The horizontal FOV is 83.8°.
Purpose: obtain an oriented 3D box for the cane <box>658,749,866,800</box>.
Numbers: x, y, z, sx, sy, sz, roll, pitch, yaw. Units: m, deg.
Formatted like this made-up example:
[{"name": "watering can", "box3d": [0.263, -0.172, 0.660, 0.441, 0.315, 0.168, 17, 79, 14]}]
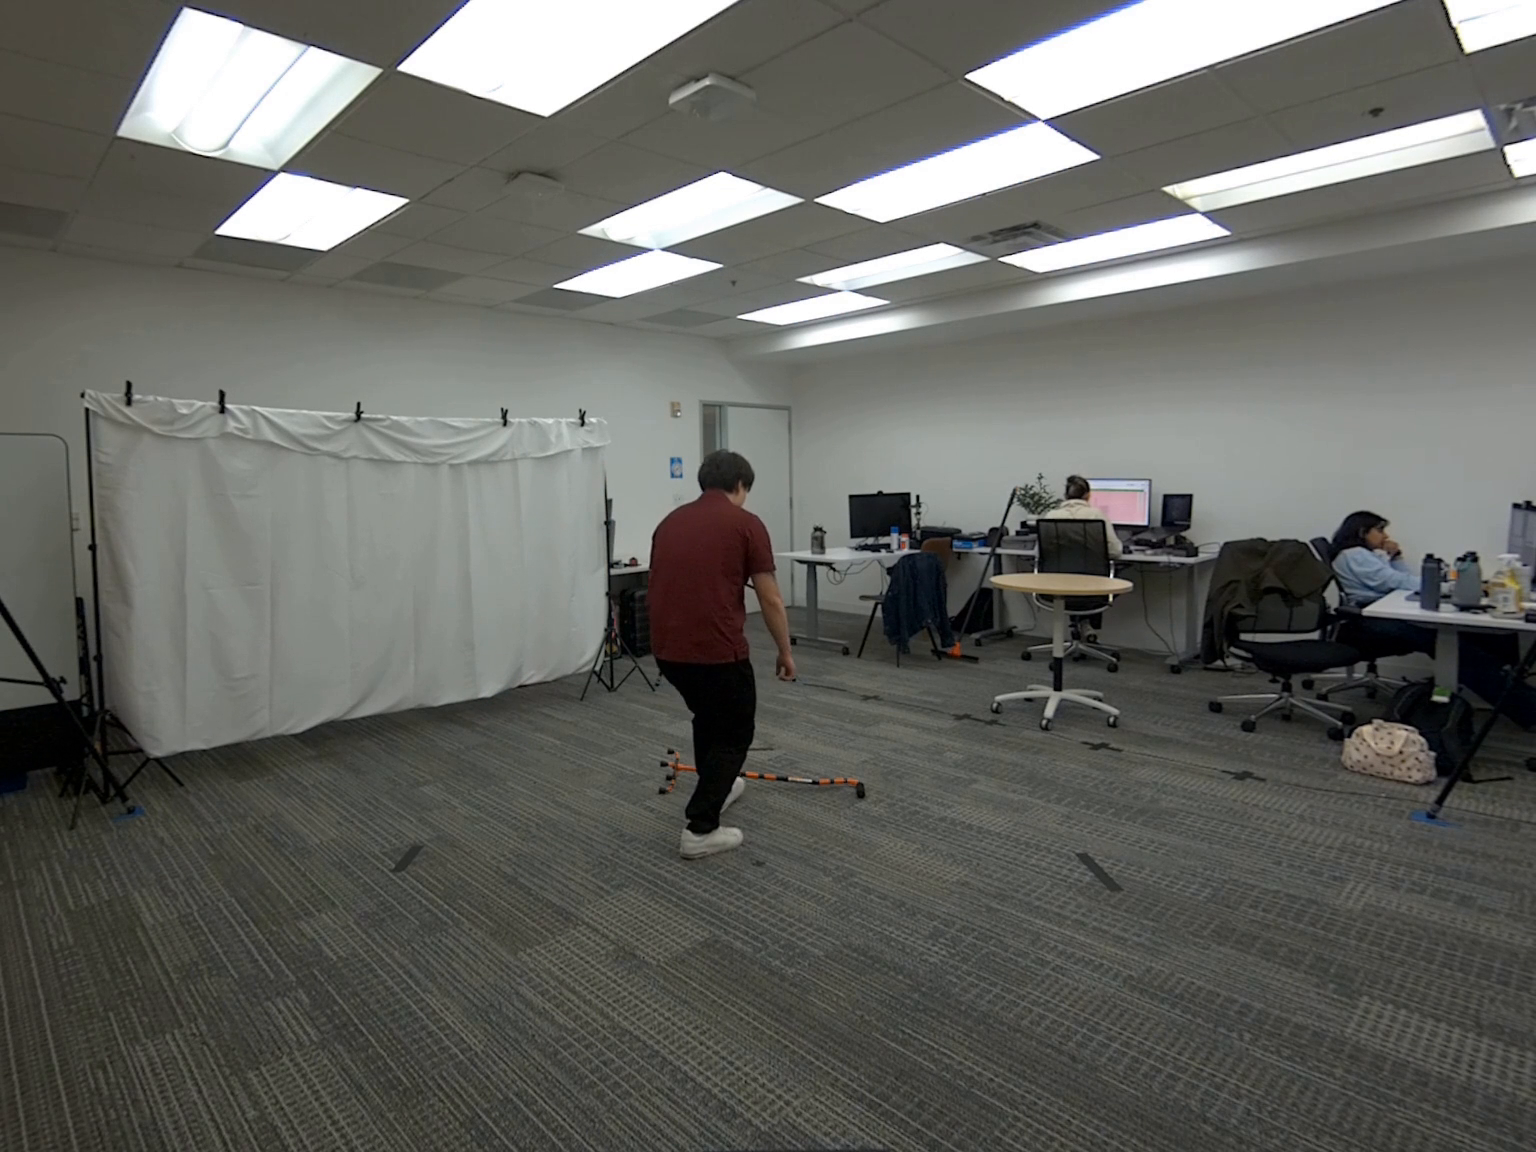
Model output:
[{"name": "cane", "box3d": [-0.026, 0.918, 3.869, 0.915, 0.151, 0.206, 4, 6, 7]}]
